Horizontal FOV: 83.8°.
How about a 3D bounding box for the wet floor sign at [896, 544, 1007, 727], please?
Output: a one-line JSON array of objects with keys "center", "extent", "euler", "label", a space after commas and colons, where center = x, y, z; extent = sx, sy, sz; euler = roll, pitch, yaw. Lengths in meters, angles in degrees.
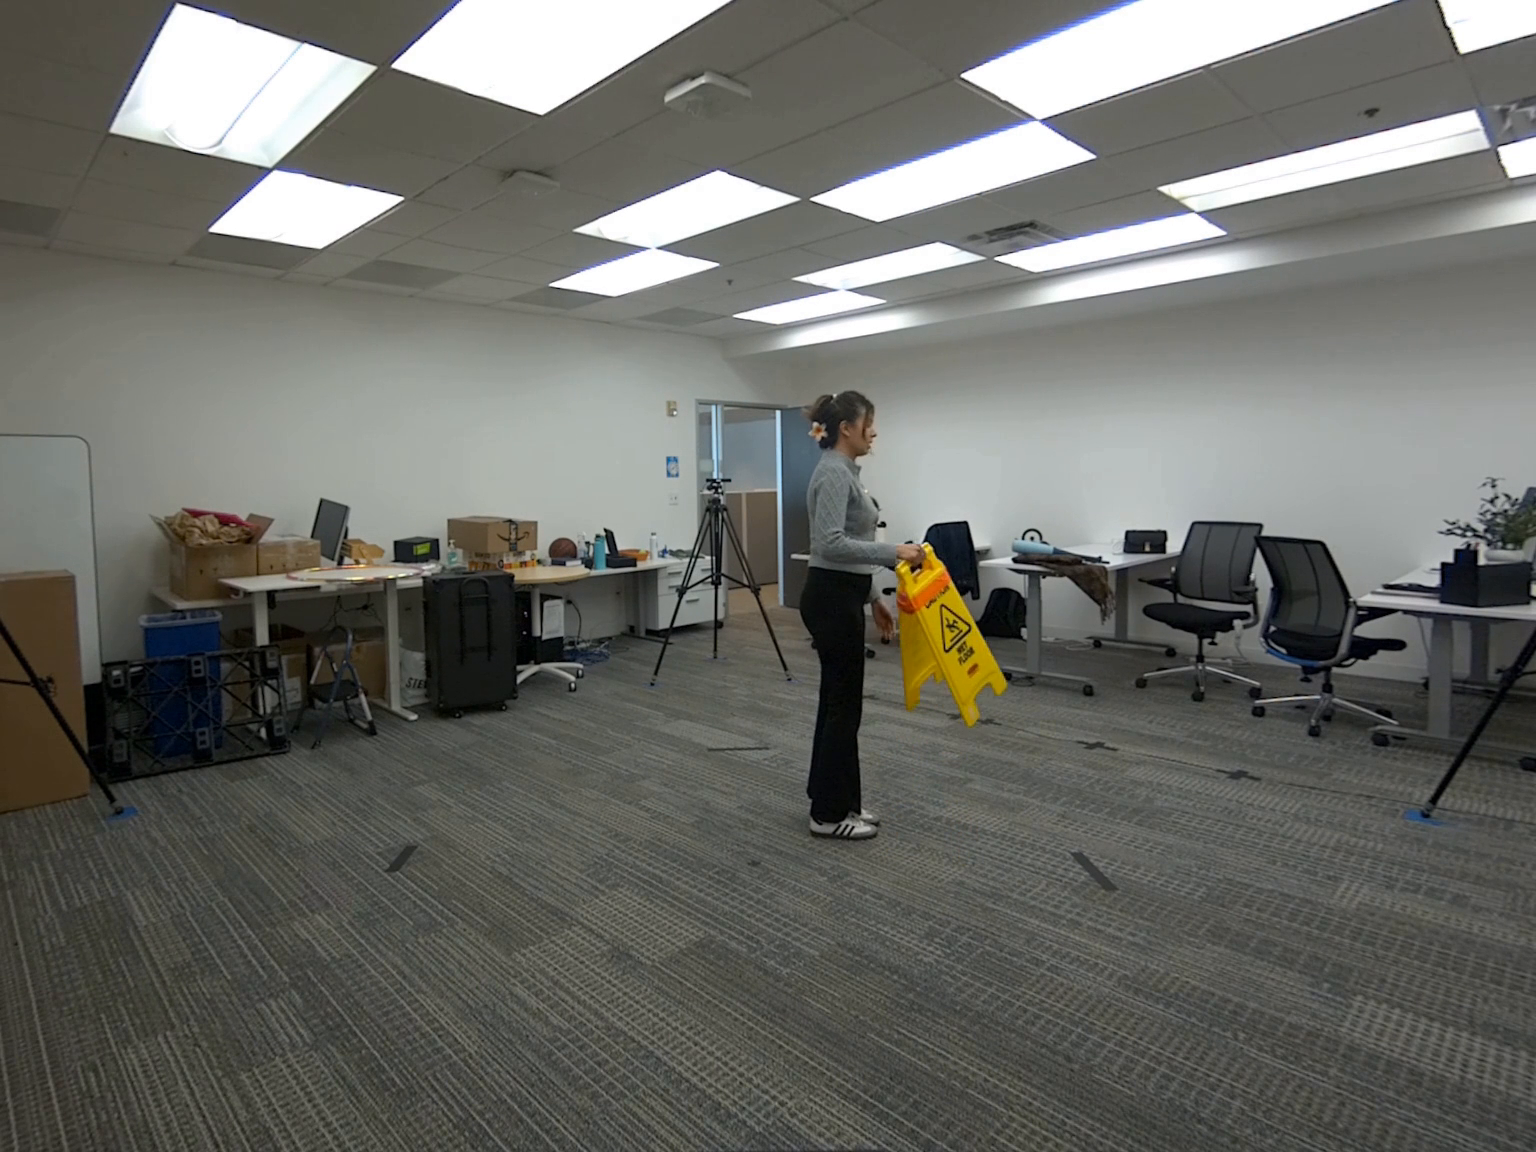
[{"center": [0.628, 0.200, 3.216], "extent": [0.298, 0.632, 0.280], "euler": [2, 29, 46], "label": "wet floor sign"}]
